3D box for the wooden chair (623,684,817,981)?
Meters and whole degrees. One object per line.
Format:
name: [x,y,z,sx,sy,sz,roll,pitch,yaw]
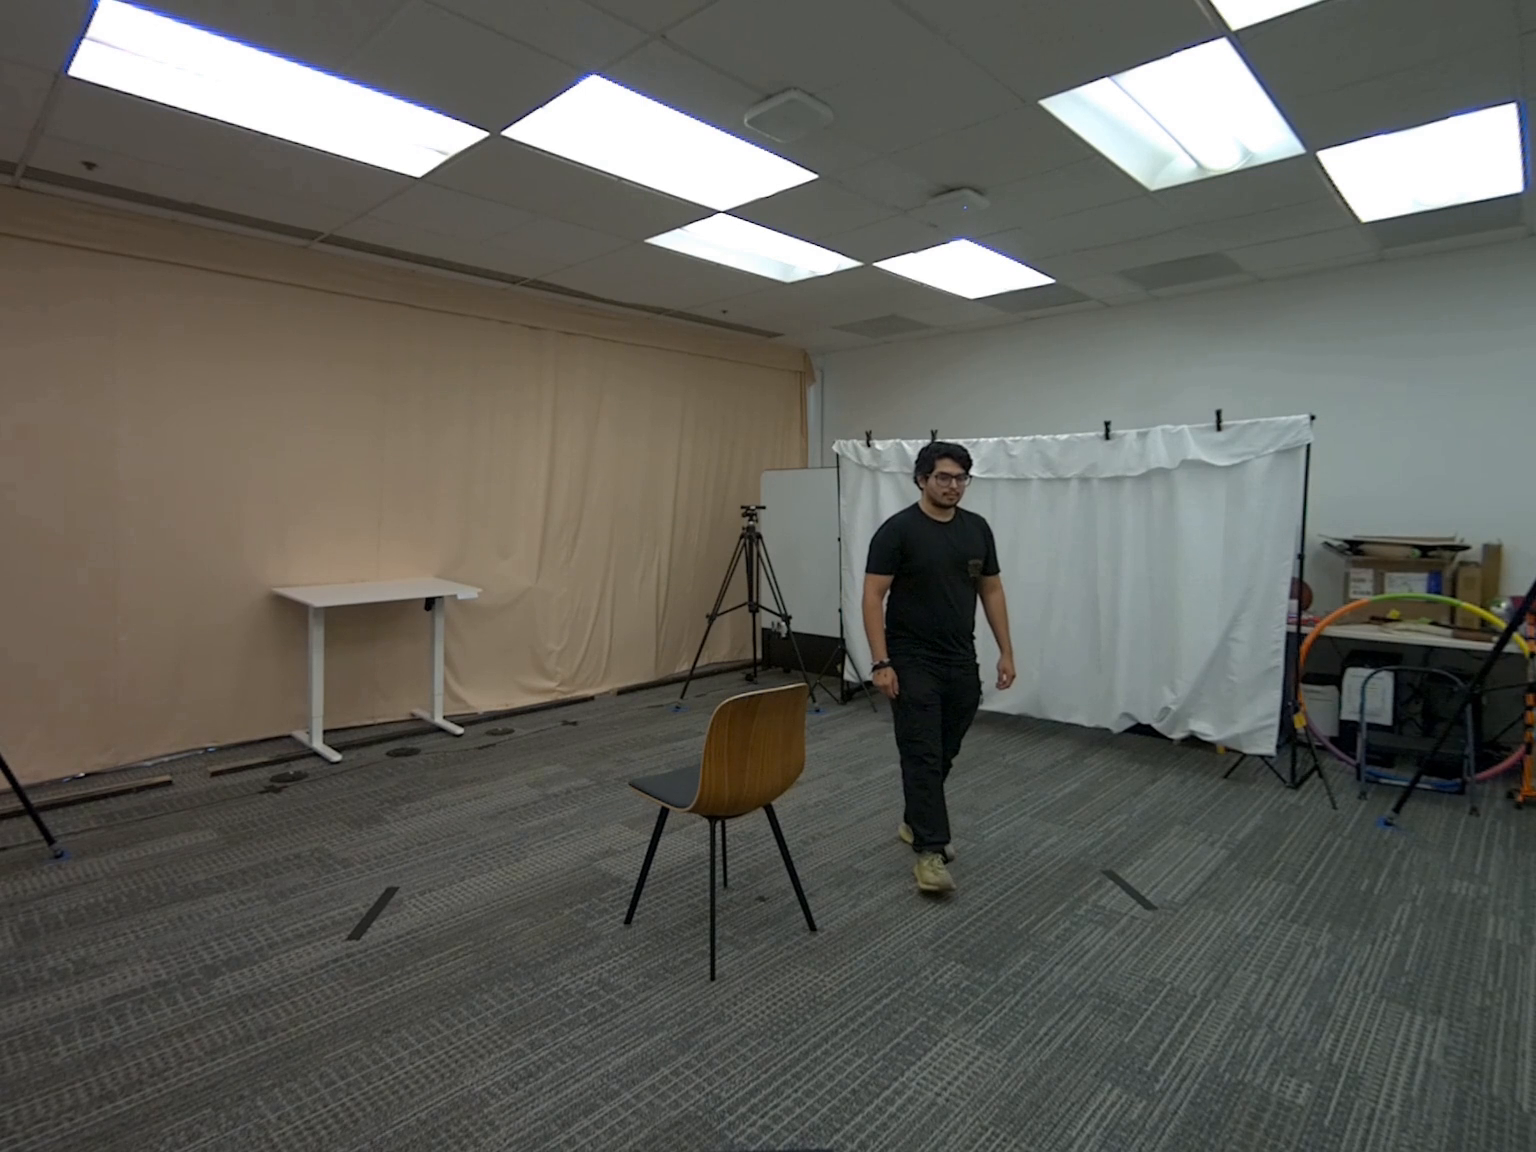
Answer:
wooden chair: [-0.163,0.737,2.755,0.463,0.874,0.541,-3,9,-42]
